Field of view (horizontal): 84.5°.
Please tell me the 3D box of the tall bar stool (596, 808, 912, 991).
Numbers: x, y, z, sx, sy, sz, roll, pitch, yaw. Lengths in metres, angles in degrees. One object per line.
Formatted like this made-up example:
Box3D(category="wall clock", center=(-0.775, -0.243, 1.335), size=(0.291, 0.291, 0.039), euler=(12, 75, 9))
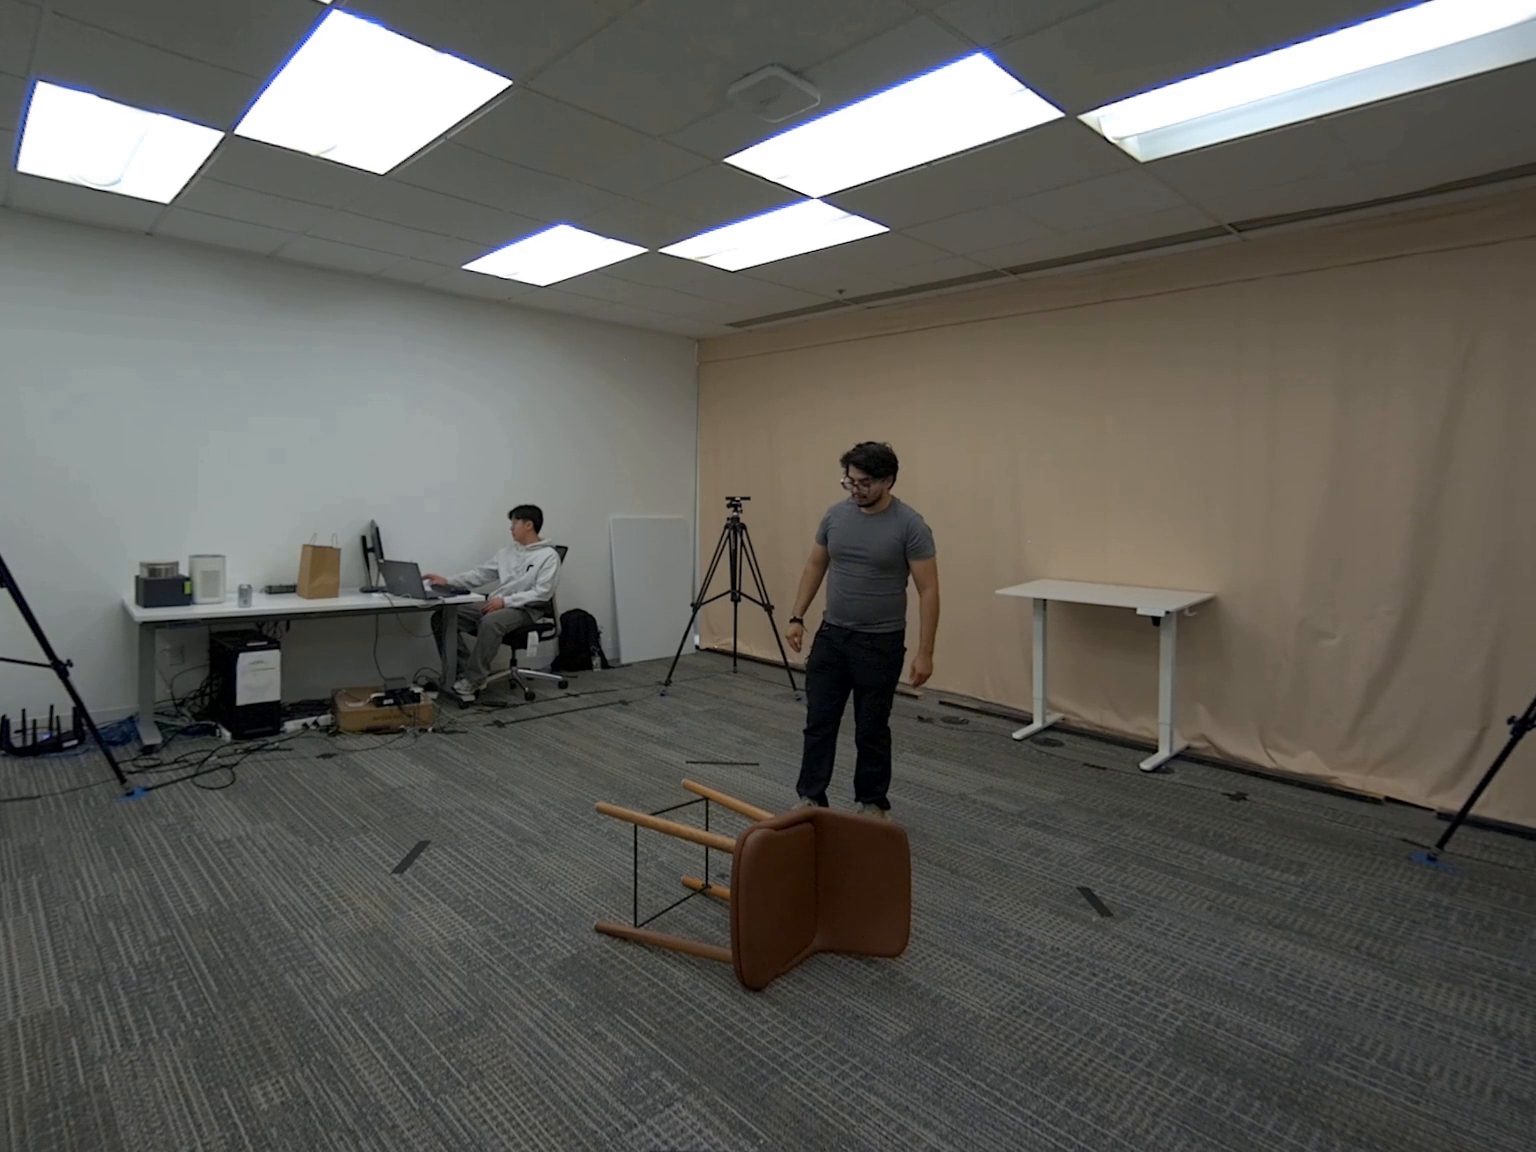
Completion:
Box3D(category="tall bar stool", center=(-0.071, 0.941, 2.606), size=(0.910, 0.456, 0.457), euler=(2, 1, 35))
